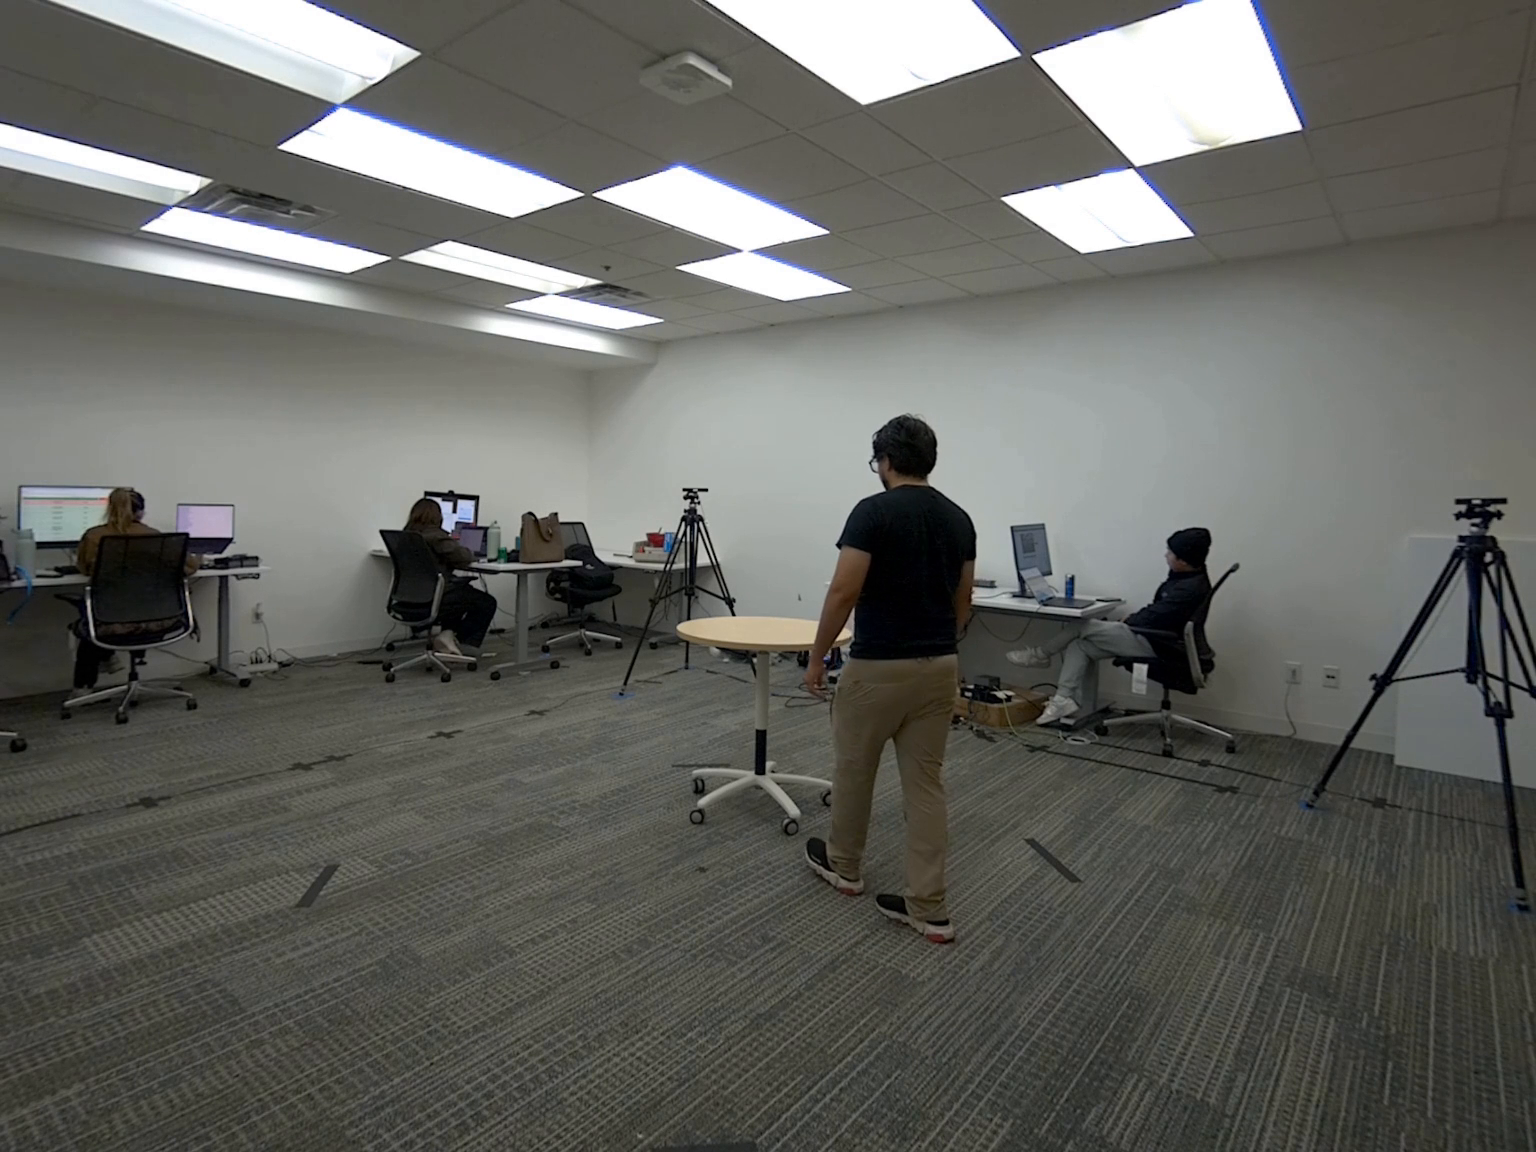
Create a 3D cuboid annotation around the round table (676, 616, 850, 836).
[{"bbox_3d":[-0.035,0.618,3.754,0.784,0.784,0.789,1,4,-2],"label":"round table"}]
